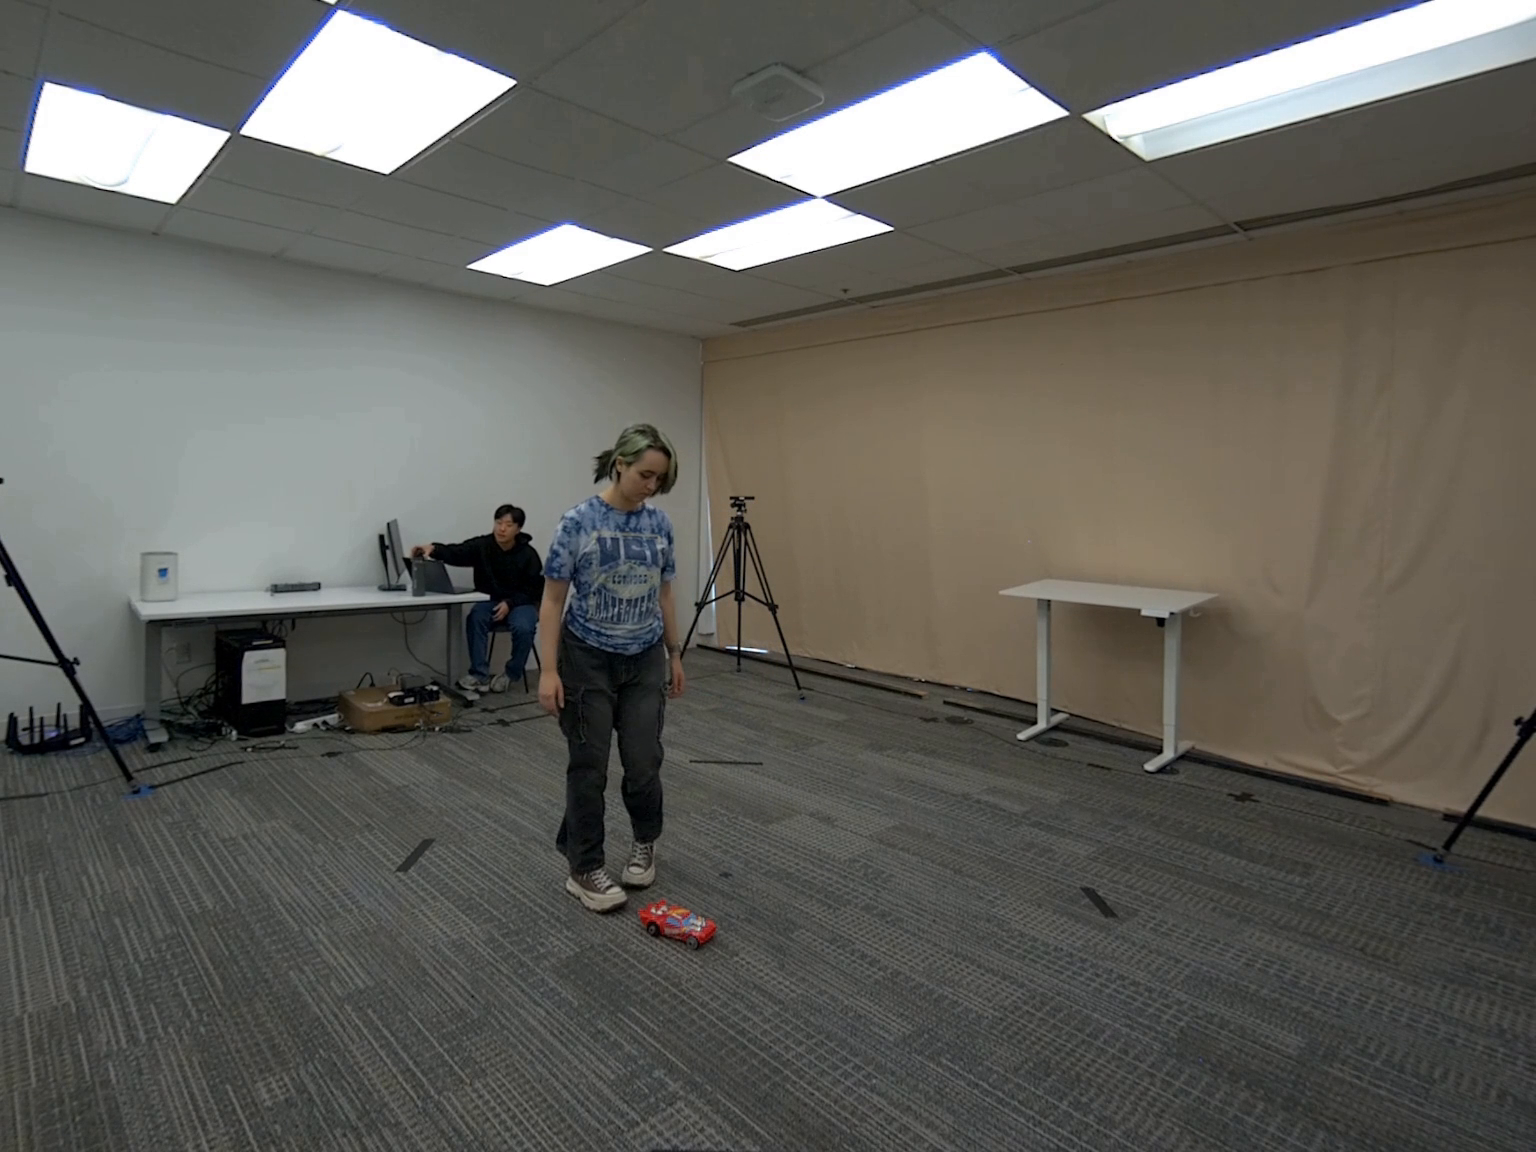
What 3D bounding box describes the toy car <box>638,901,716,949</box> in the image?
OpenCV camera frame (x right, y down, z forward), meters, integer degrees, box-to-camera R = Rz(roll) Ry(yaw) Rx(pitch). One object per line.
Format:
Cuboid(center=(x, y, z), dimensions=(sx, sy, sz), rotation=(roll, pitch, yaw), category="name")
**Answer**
Cuboid(center=(-0.298, 1.111, 2.672), dimensions=(0.261, 0.083, 0.128), rotation=(15, 11, 27), category="toy car")
